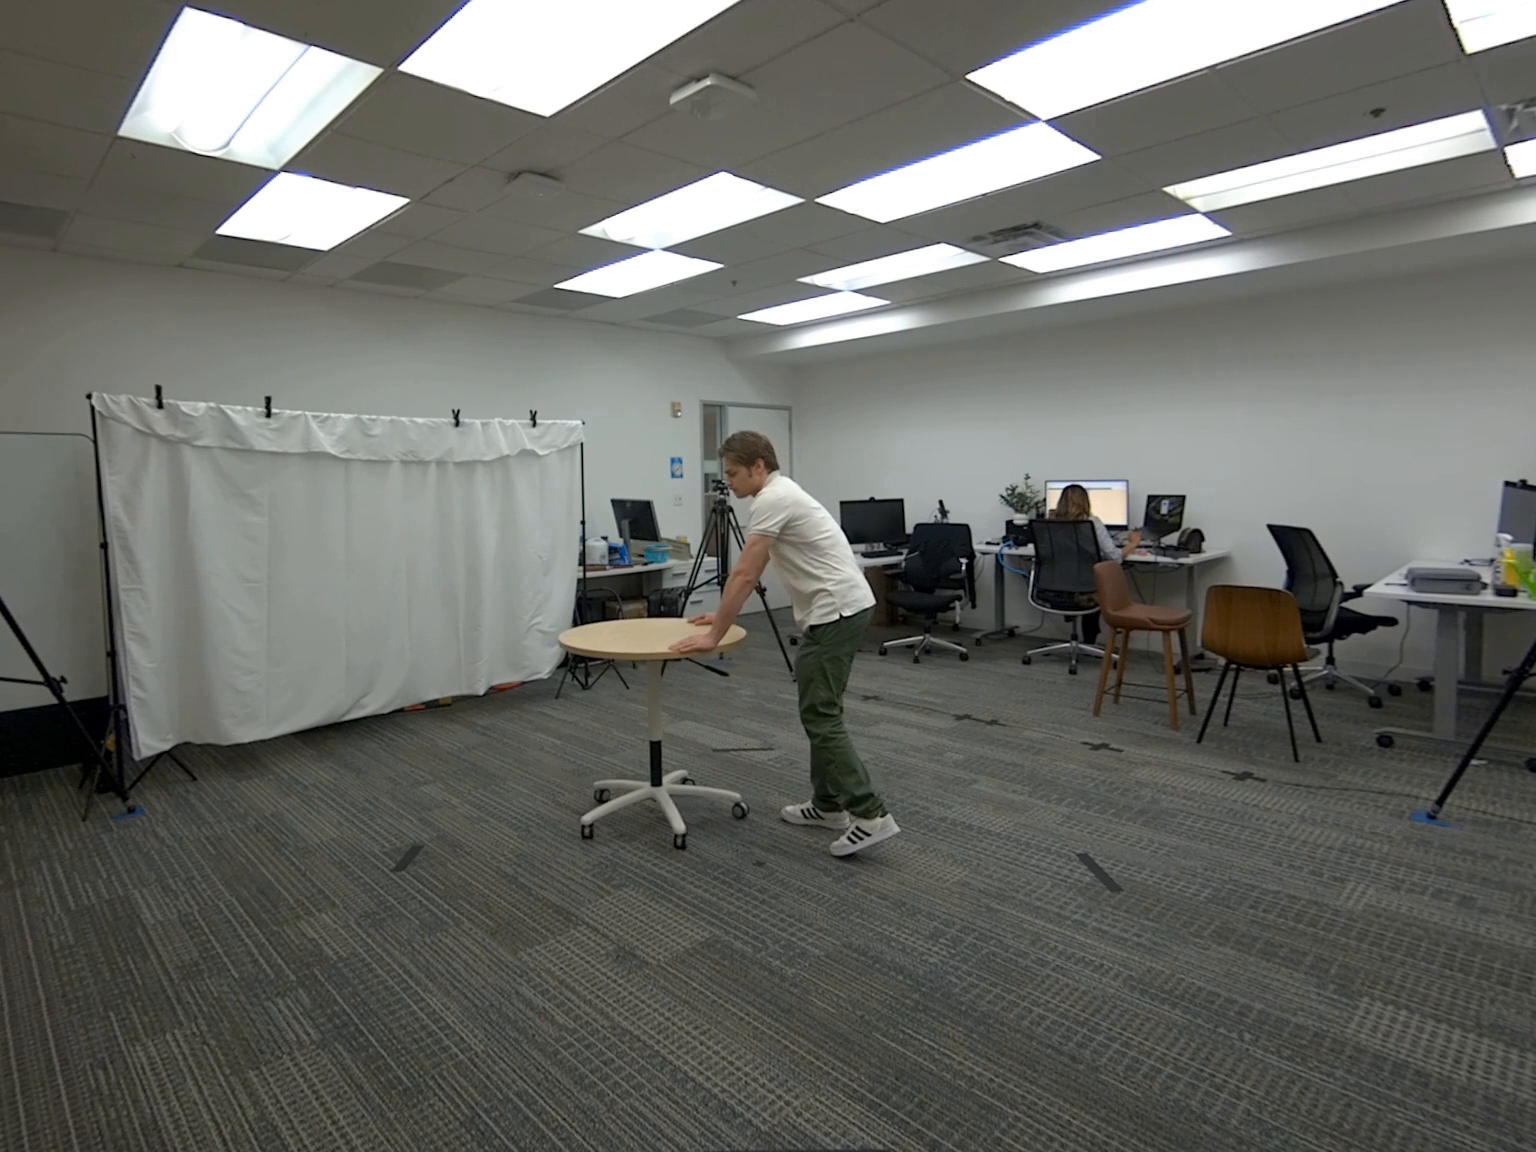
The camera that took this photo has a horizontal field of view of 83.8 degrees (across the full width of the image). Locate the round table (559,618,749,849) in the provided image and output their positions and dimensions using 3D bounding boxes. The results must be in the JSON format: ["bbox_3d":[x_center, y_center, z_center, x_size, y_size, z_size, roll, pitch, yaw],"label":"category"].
[{"bbox_3d":[-0.466,0.621,3.526,0.763,0.791,0.768,-1,5,-2],"label":"round table"}]
